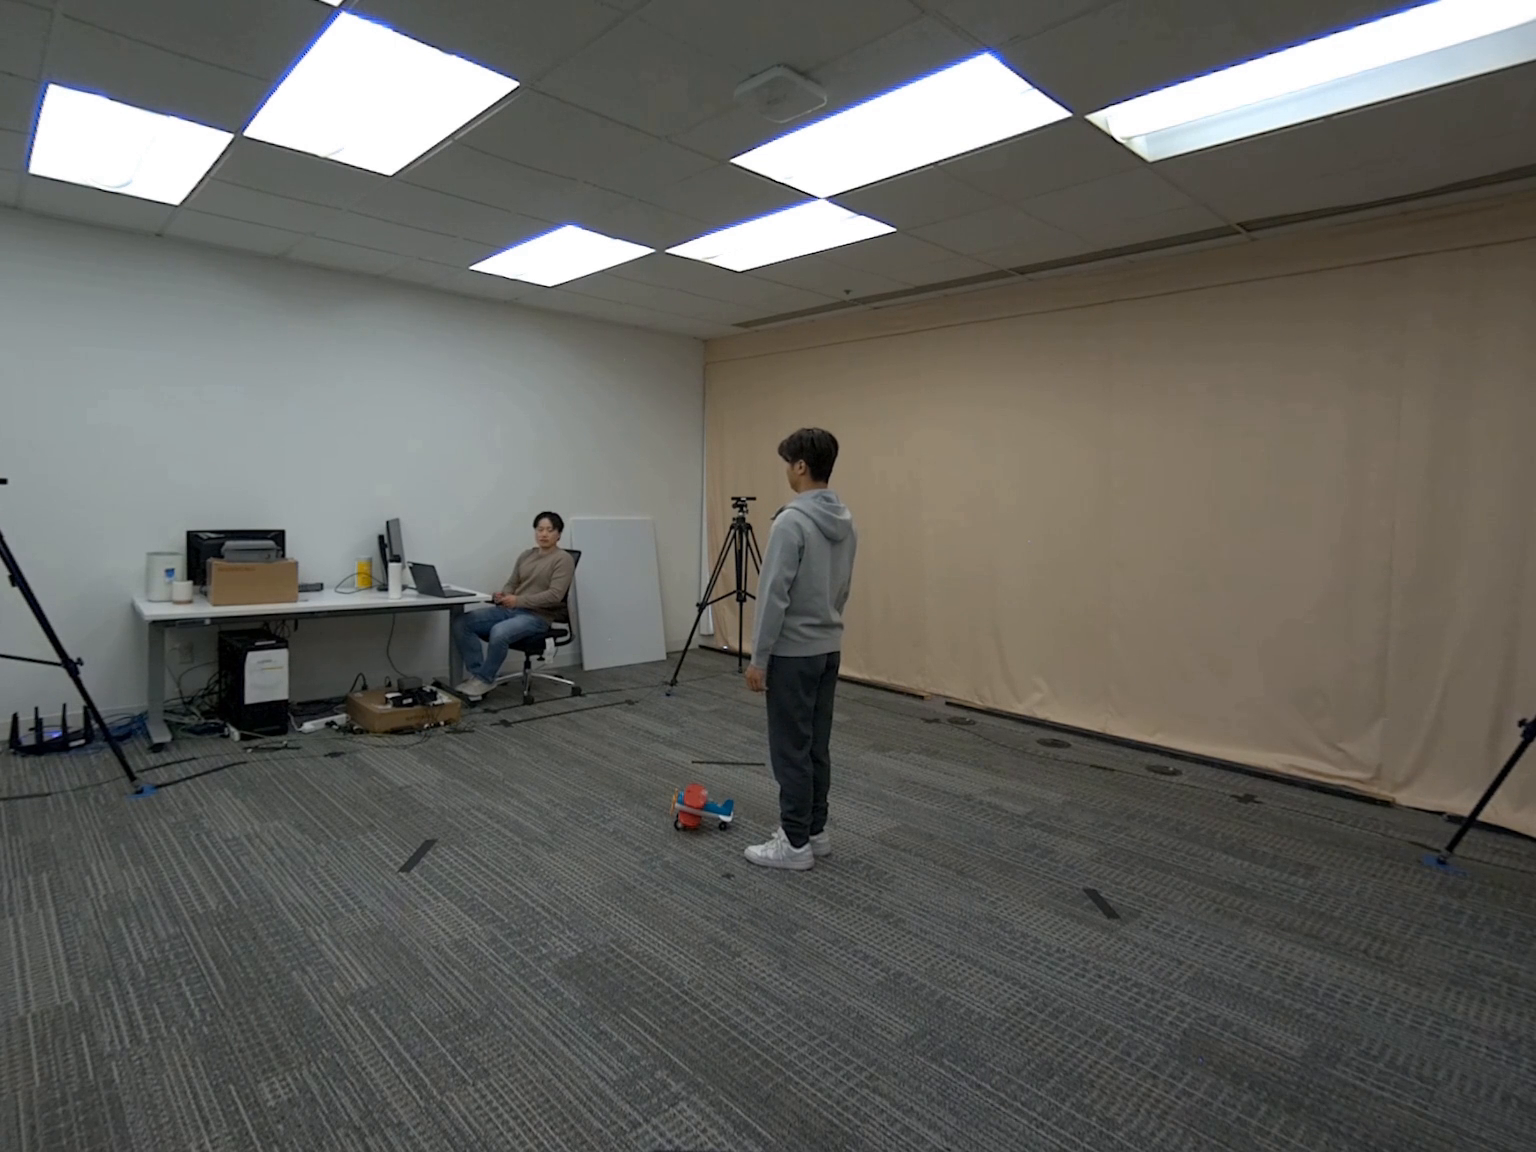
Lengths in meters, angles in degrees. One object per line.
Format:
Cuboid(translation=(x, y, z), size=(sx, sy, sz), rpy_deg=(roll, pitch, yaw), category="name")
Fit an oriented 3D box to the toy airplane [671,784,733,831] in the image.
Cuboid(translation=(-0.285, 0.983, 3.576), size=(0.255, 0.156, 0.256), rpy_deg=(-1, 5, -25), category="toy airplane")
